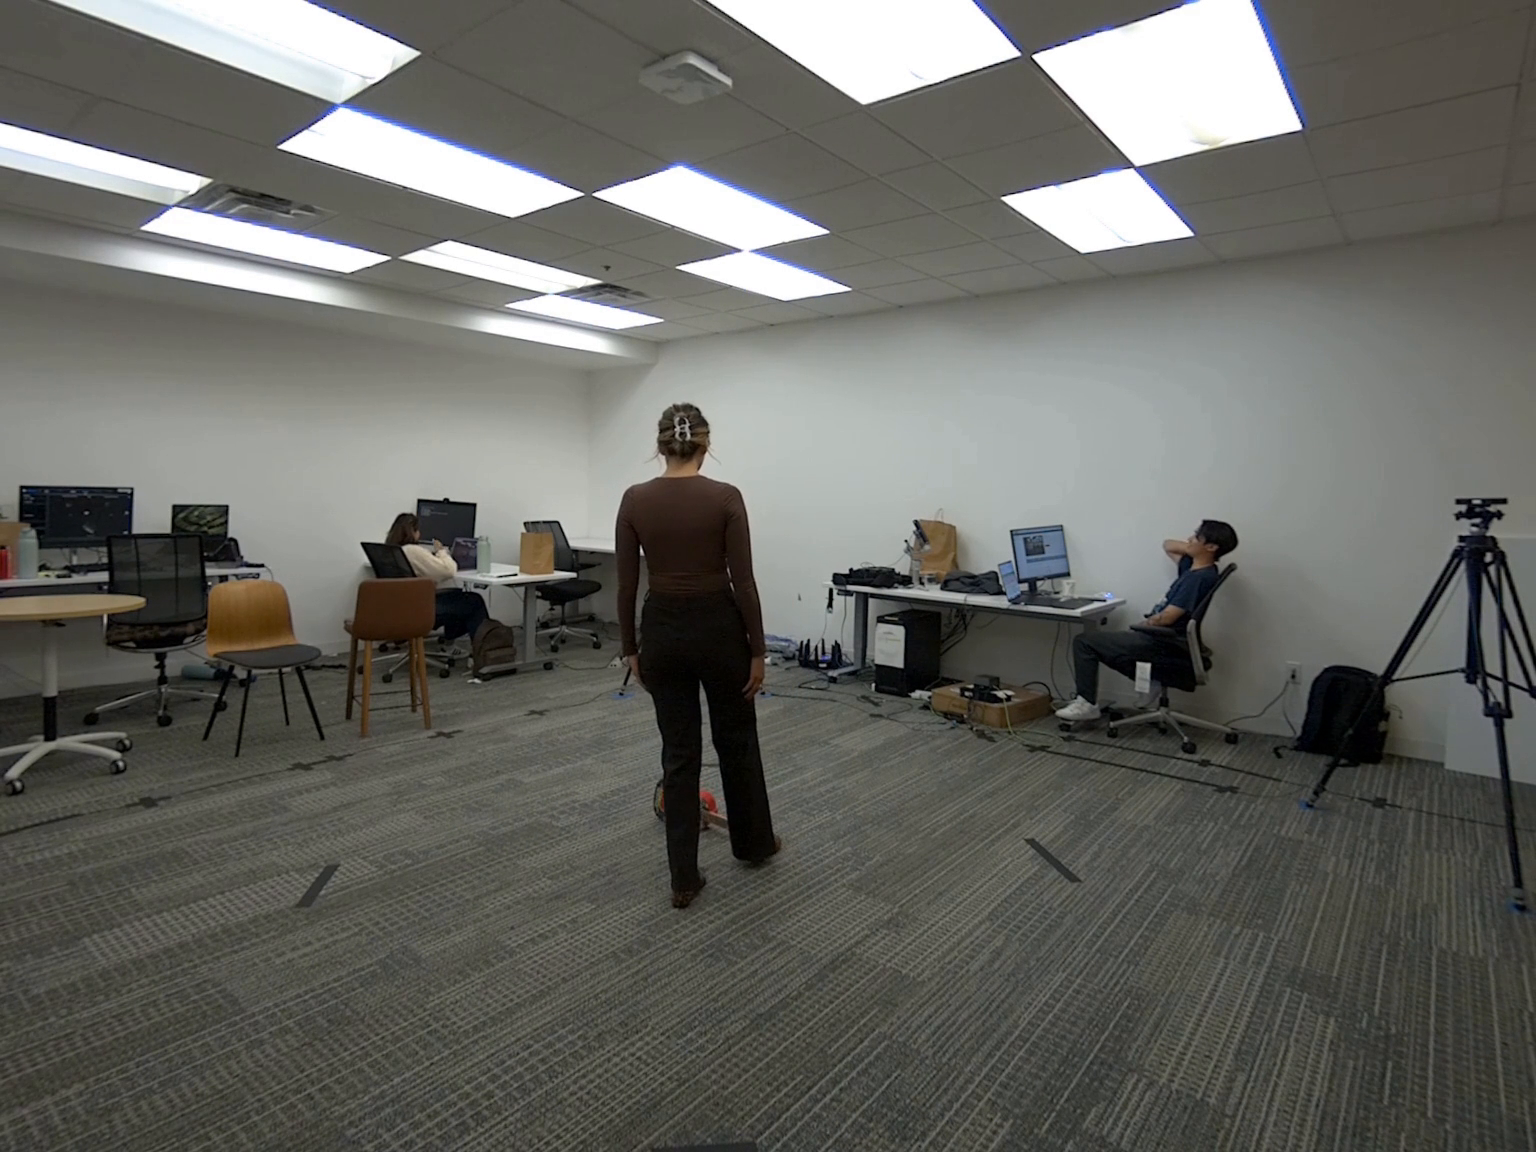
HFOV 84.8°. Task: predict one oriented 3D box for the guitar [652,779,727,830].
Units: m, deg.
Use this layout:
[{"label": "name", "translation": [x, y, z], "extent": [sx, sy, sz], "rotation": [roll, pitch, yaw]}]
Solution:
[{"label": "guitar", "translation": [-0.263, 0.989, 3.475], "extent": [0.513, 0.191, 0.069], "rotation": [22, 14, 24]}]
